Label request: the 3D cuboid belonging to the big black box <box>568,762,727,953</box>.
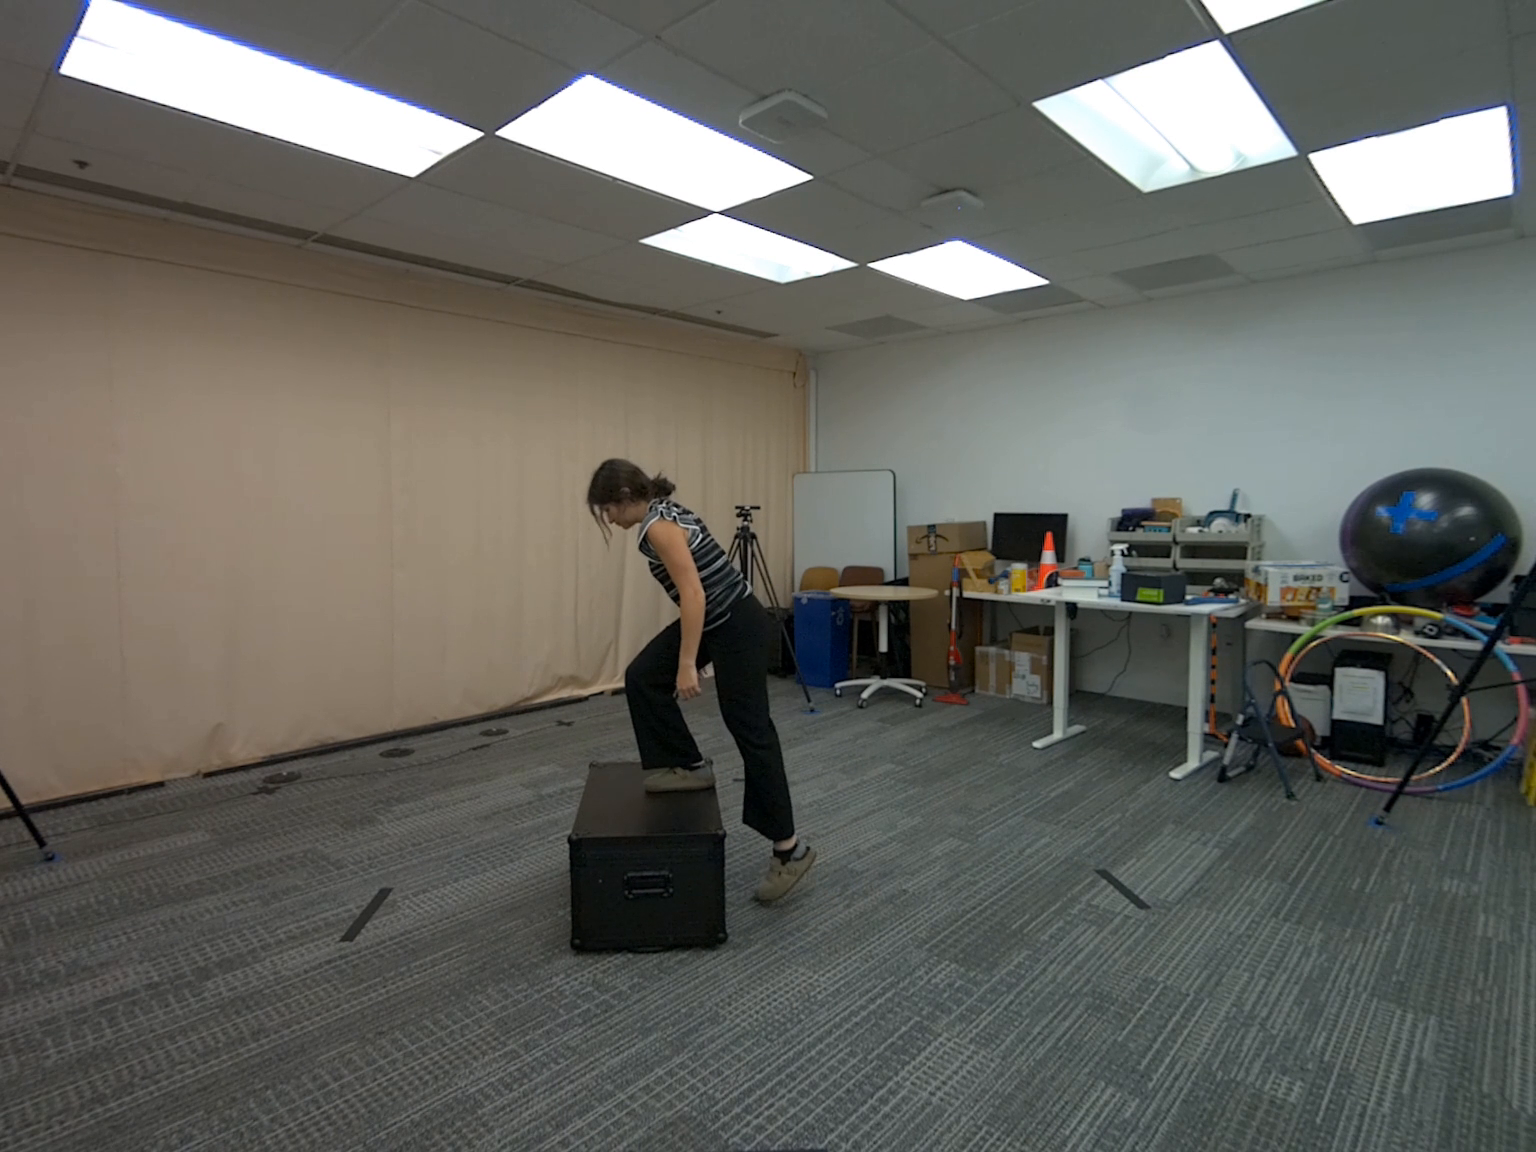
[{"bbox_3d":[-0.418,0.950,3.026,0.518,0.395,0.869,0,5,-7],"label":"big black box"}]
